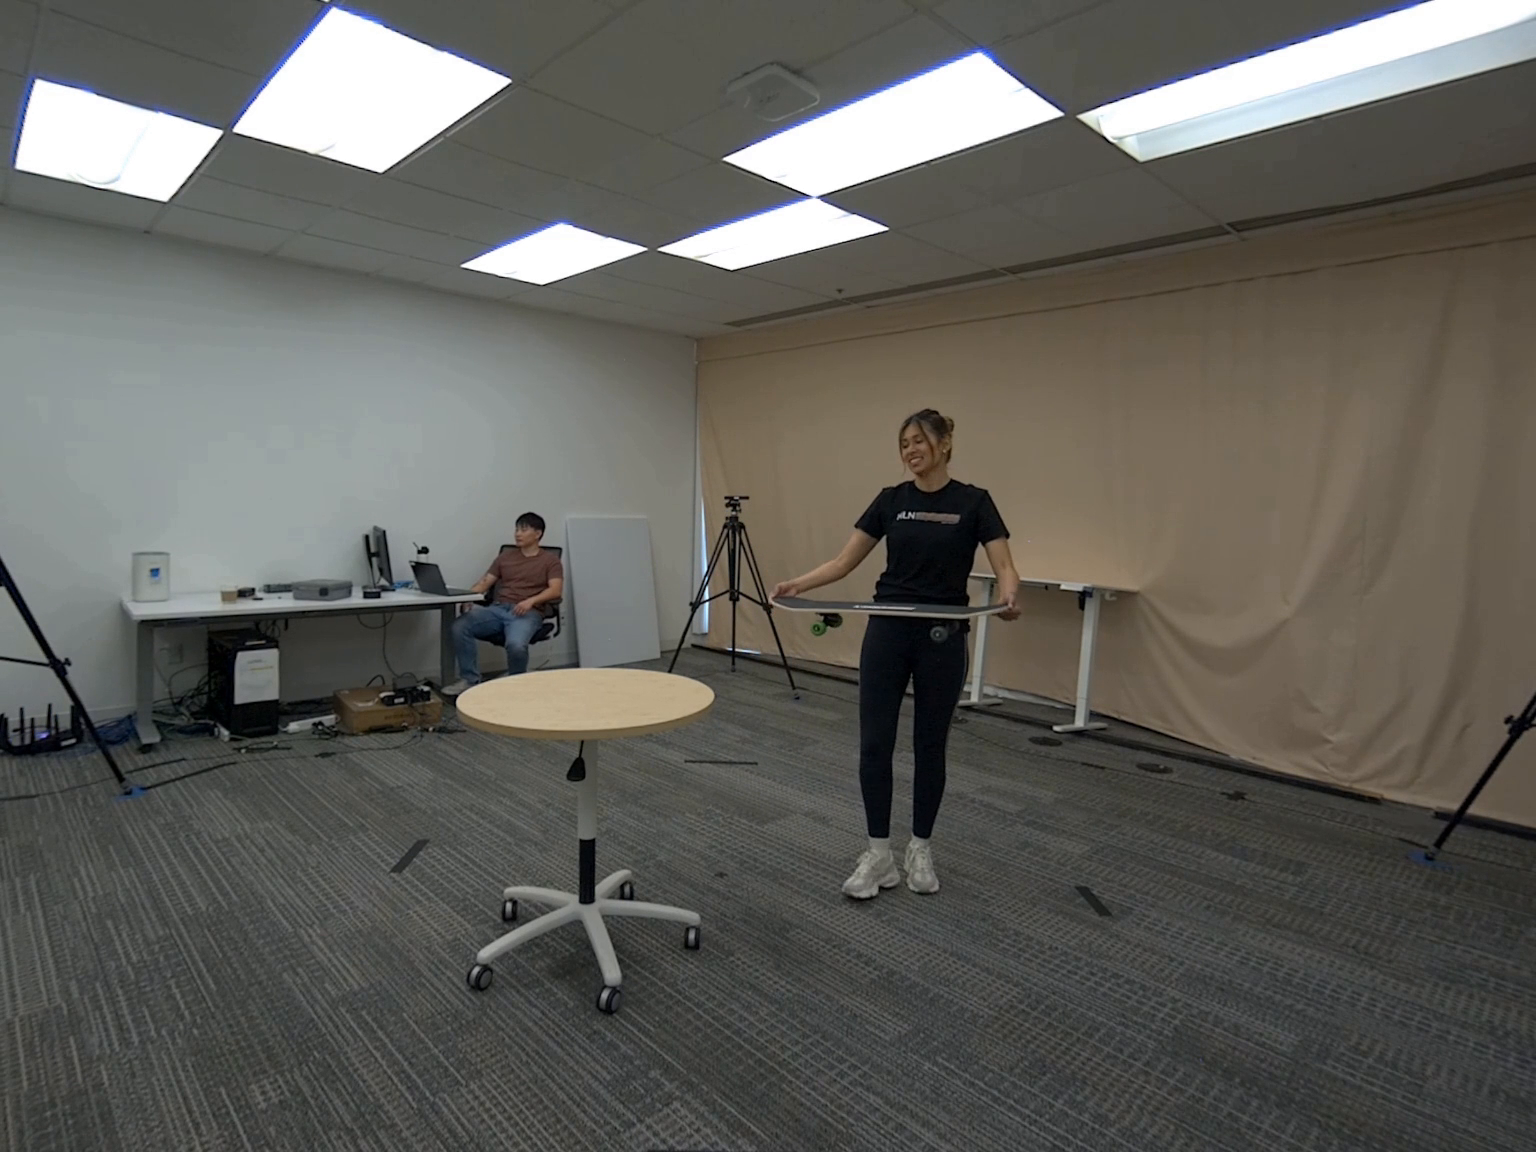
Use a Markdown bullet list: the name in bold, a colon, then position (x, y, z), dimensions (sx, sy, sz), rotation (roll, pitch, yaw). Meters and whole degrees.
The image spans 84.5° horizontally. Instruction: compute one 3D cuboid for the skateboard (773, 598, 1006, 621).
- **skateboard**: position (0.379, 0.140, 2.732), dimensions (0.801, 0.110, 0.190), rotation (1, 9, 29)
